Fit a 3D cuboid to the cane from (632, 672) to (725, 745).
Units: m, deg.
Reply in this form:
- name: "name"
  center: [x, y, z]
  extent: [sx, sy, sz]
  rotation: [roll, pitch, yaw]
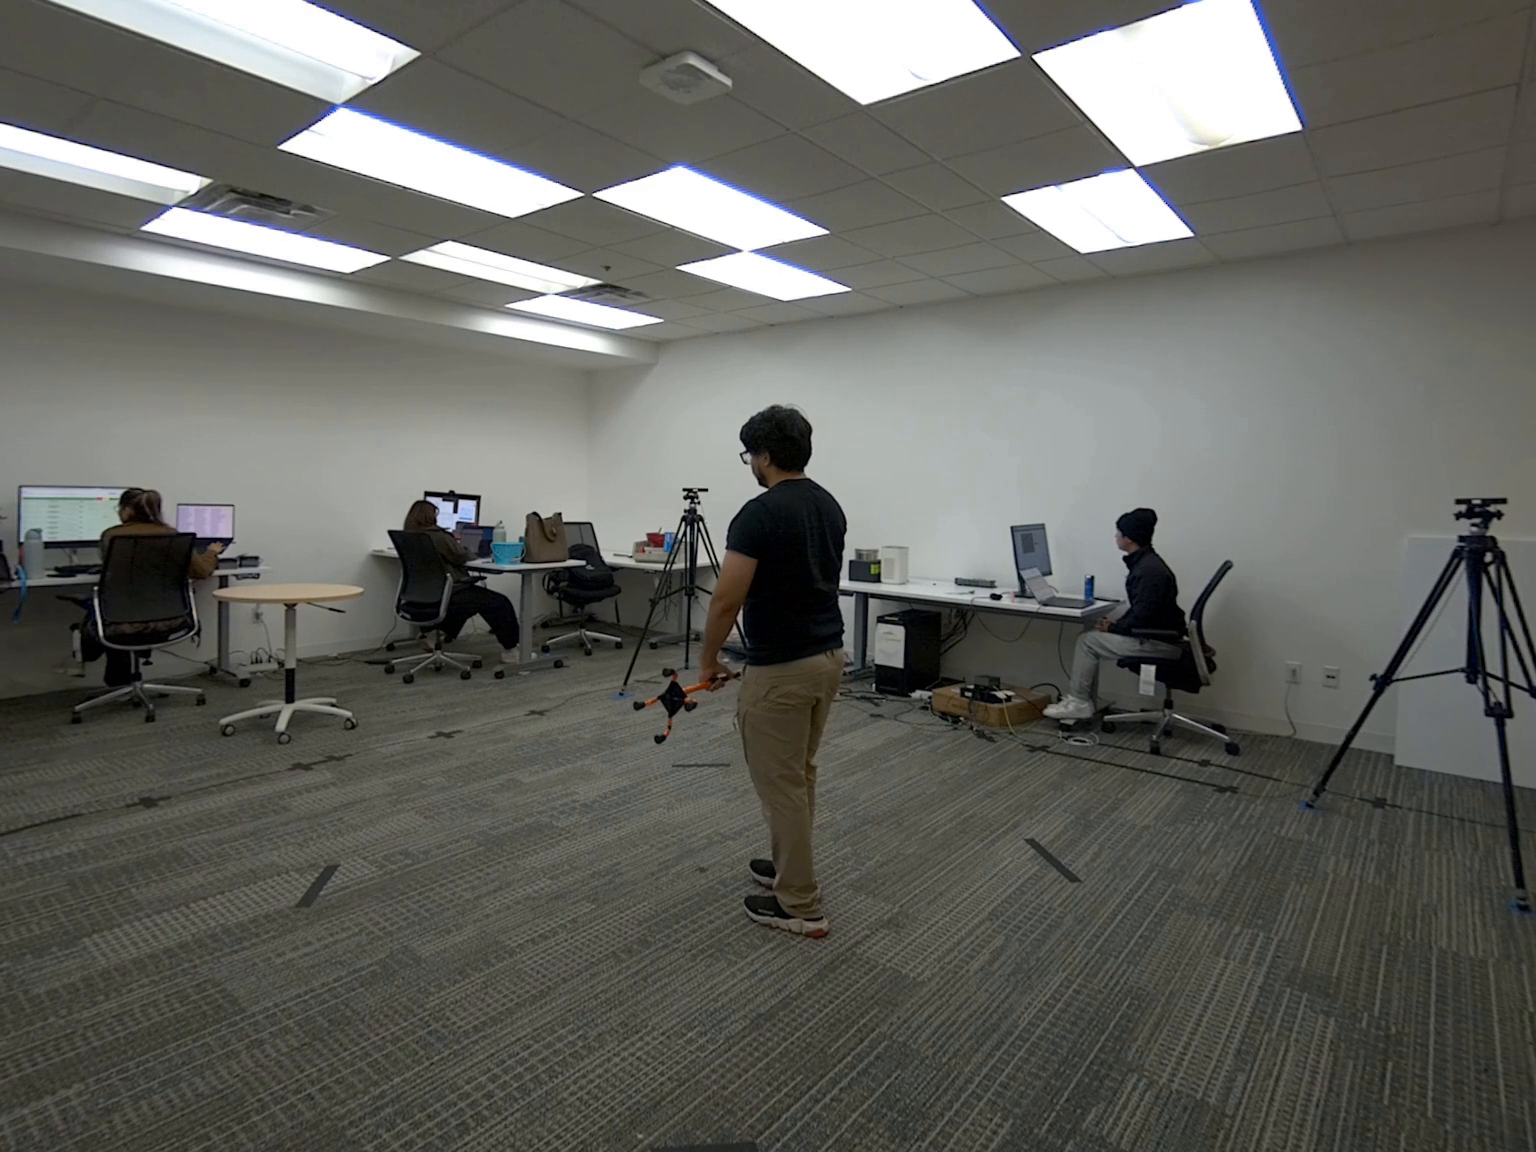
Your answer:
- name: "cane"
  center: [-0.072, 0.339, 2.887]
  extent: [0.884, 0.156, 0.206]
  rotation: [-11, -33, -50]
